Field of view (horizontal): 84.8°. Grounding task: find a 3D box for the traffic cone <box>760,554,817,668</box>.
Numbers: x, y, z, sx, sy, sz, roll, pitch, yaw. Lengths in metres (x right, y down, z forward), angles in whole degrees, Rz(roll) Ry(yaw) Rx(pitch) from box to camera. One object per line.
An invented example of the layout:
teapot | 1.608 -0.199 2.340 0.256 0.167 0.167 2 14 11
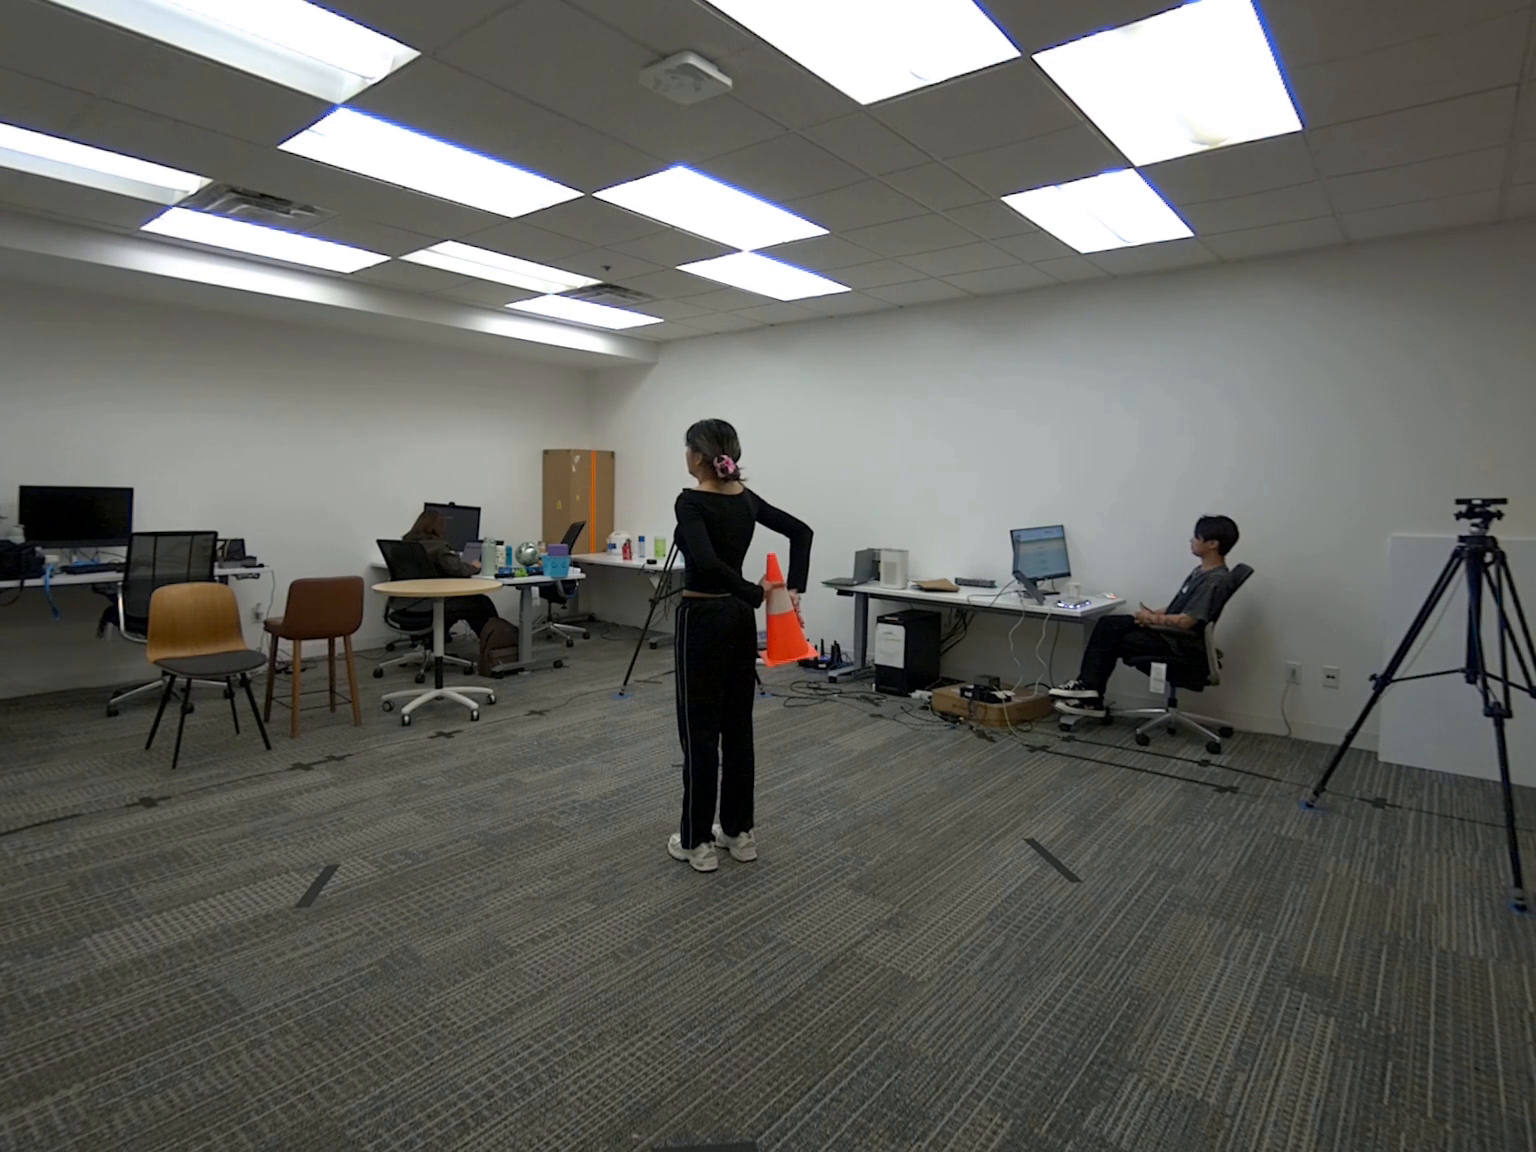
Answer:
traffic cone | 0.026 0.106 3.103 0.204 0.380 0.206 -8 8 -6
